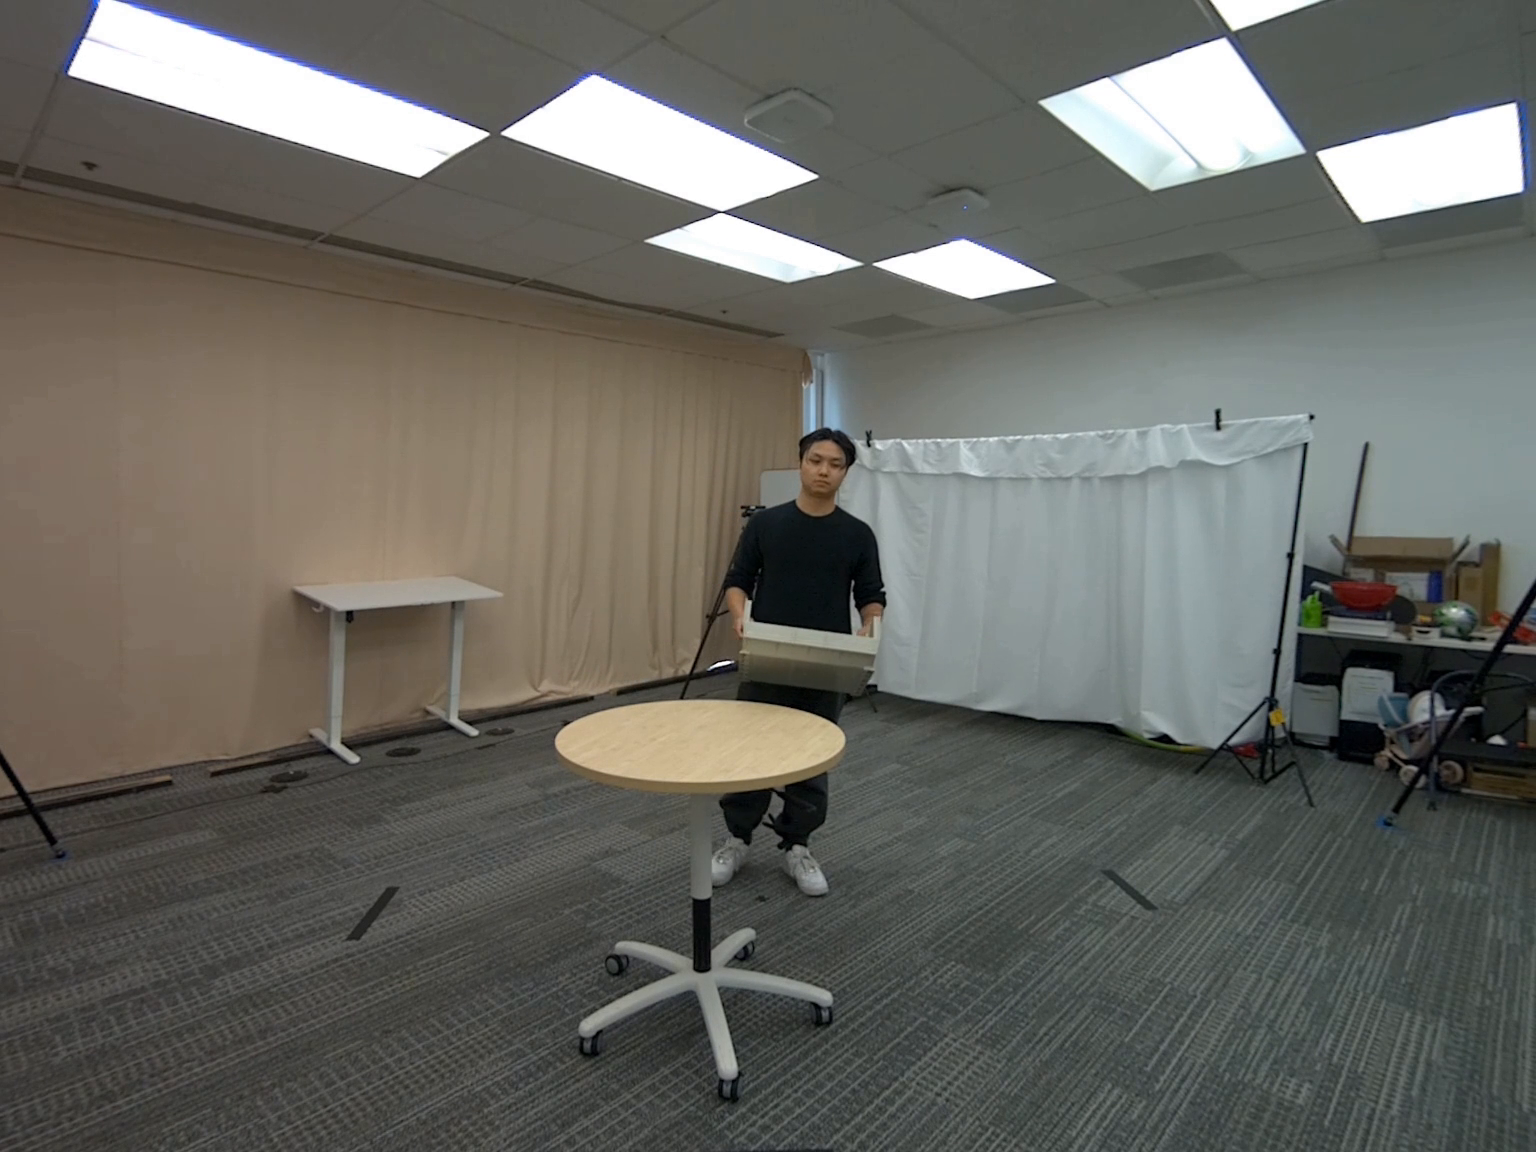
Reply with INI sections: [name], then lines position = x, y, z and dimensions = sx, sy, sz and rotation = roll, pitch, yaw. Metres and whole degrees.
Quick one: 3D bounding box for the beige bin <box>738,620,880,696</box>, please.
[beige bin]
position = 0.123, 0.235, 2.720
dimensions = 0.424, 0.191, 0.373
rotation = 9, -23, 2
